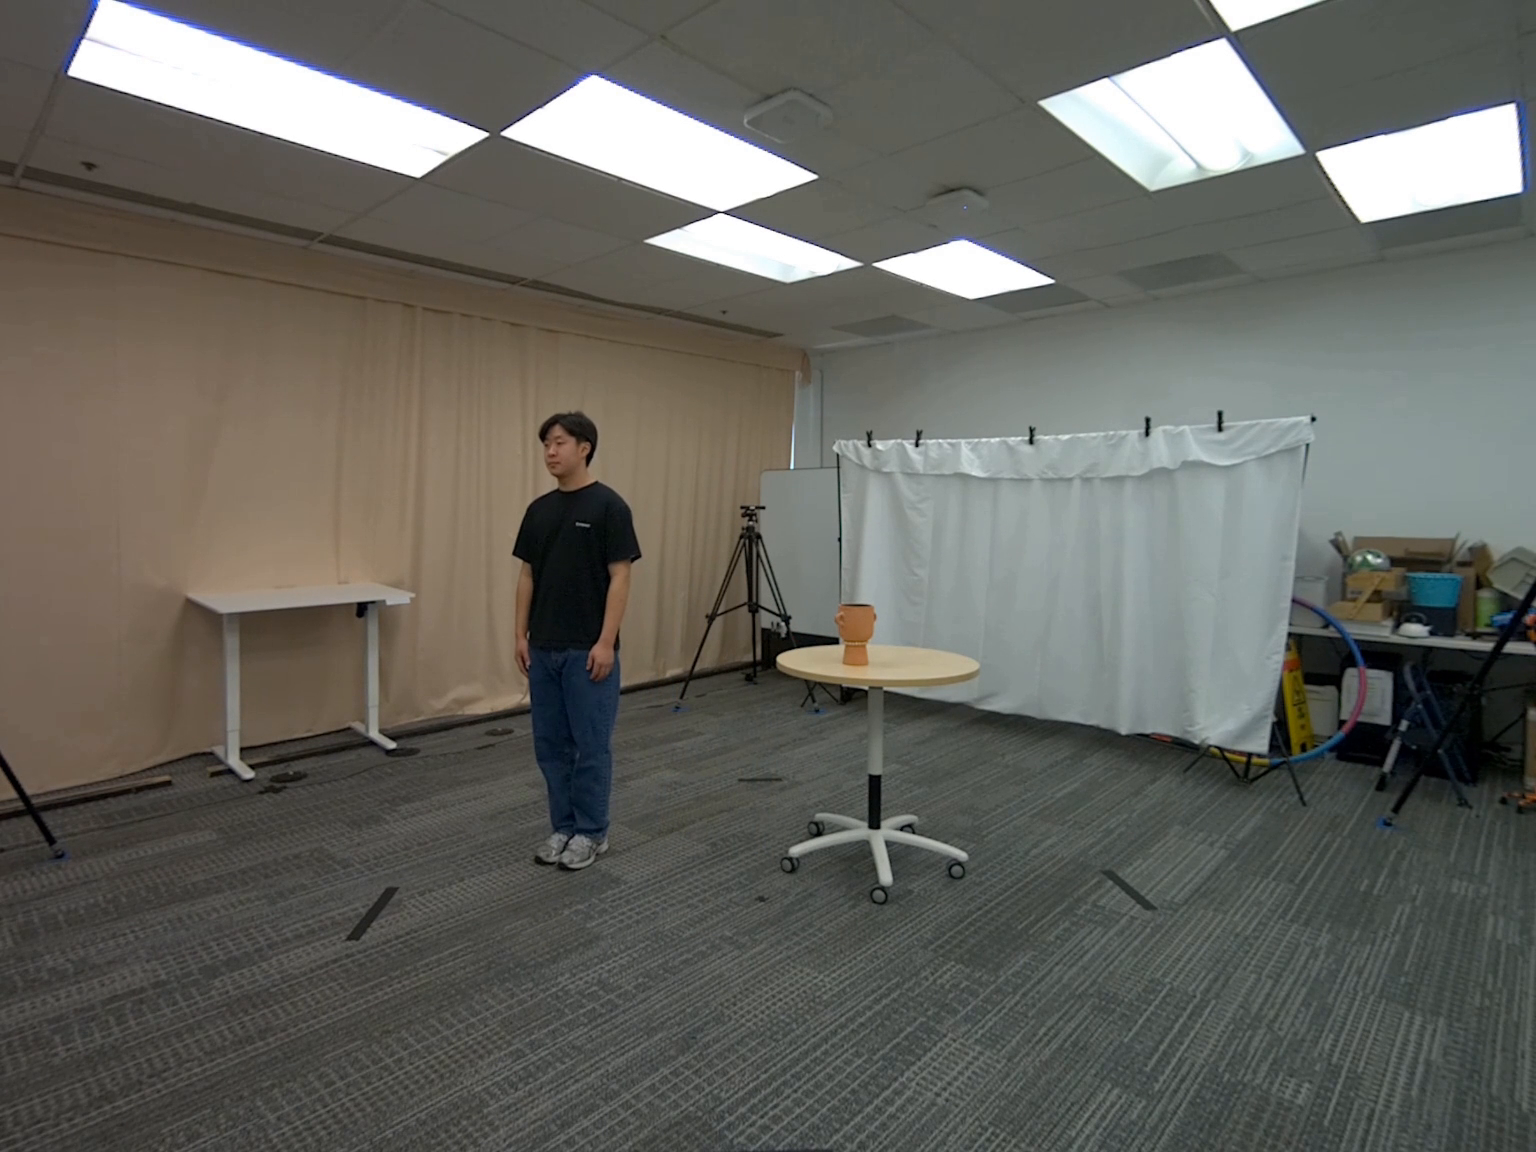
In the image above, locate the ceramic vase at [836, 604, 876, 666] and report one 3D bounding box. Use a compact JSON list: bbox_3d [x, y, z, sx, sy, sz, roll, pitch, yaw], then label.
[{"bbox_3d":[0.341,0.223,3.169,0.160,0.219,0.134,1,2,7],"label":"ceramic vase"}]
